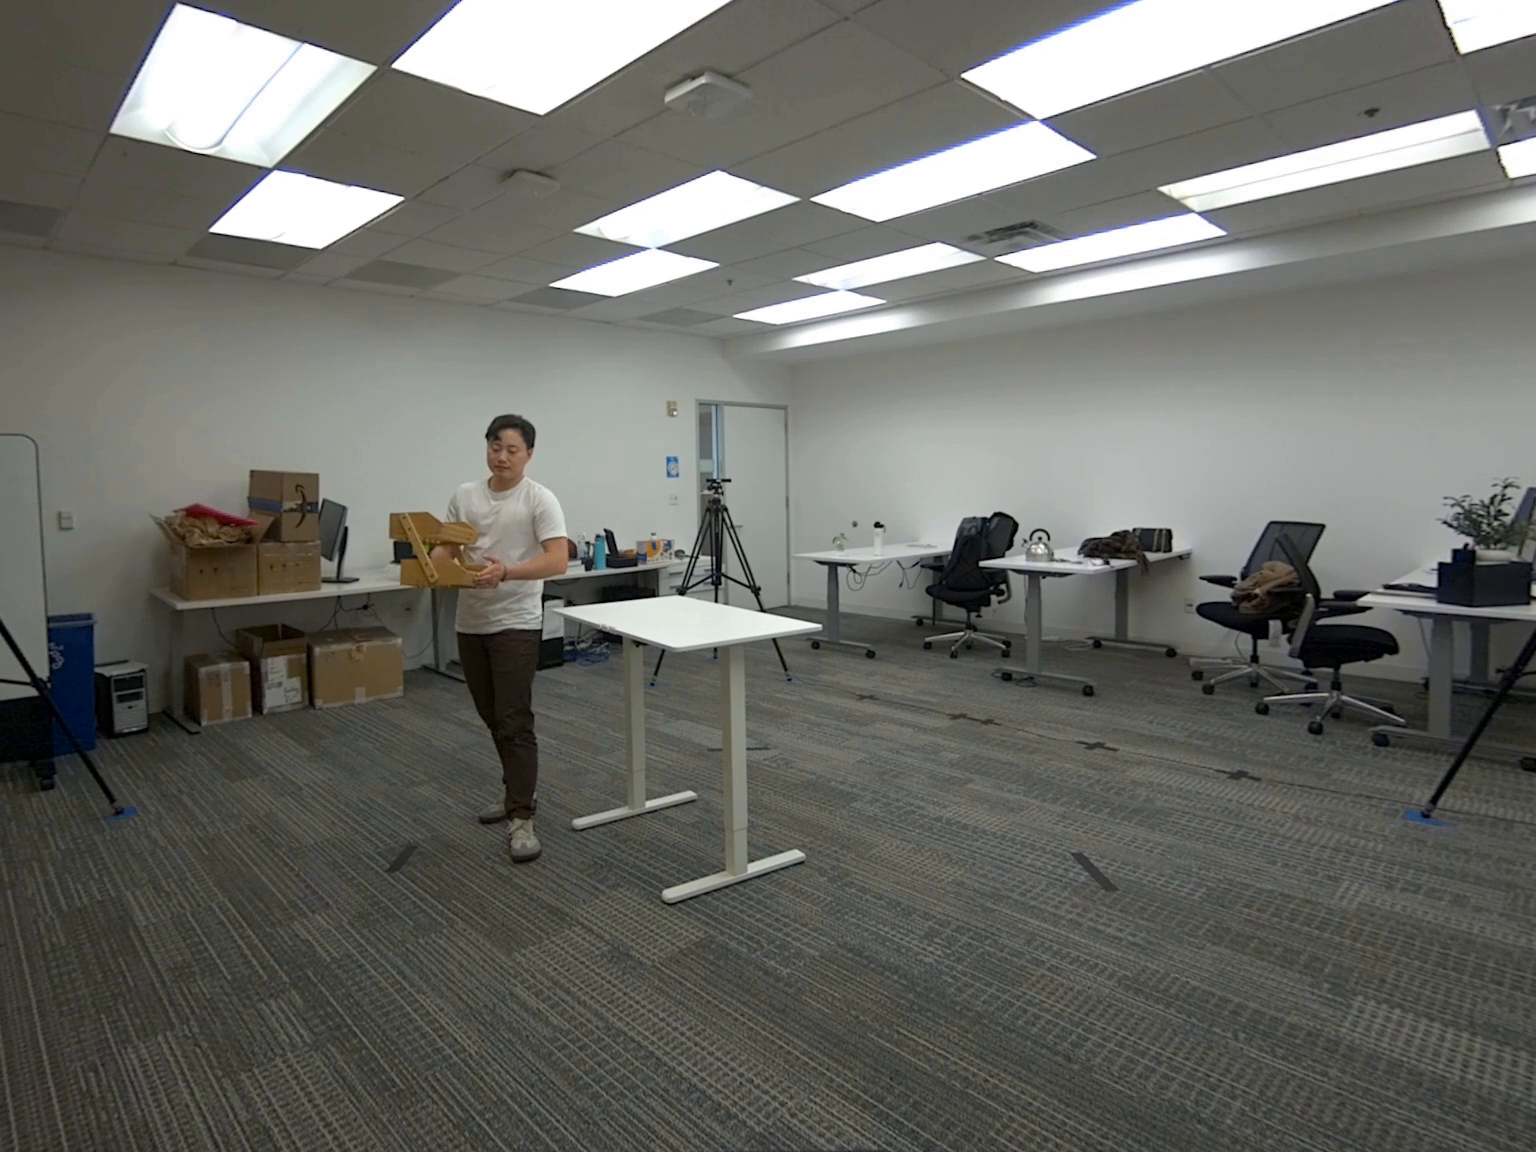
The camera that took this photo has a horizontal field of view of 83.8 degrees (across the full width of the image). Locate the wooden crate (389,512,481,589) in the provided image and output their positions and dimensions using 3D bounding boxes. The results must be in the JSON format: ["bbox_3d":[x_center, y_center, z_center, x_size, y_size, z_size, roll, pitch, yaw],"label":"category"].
[{"bbox_3d":[-1.188,-0.090,3.170,0.304,0.275,0.321,0,-5,6],"label":"wooden crate"}]
